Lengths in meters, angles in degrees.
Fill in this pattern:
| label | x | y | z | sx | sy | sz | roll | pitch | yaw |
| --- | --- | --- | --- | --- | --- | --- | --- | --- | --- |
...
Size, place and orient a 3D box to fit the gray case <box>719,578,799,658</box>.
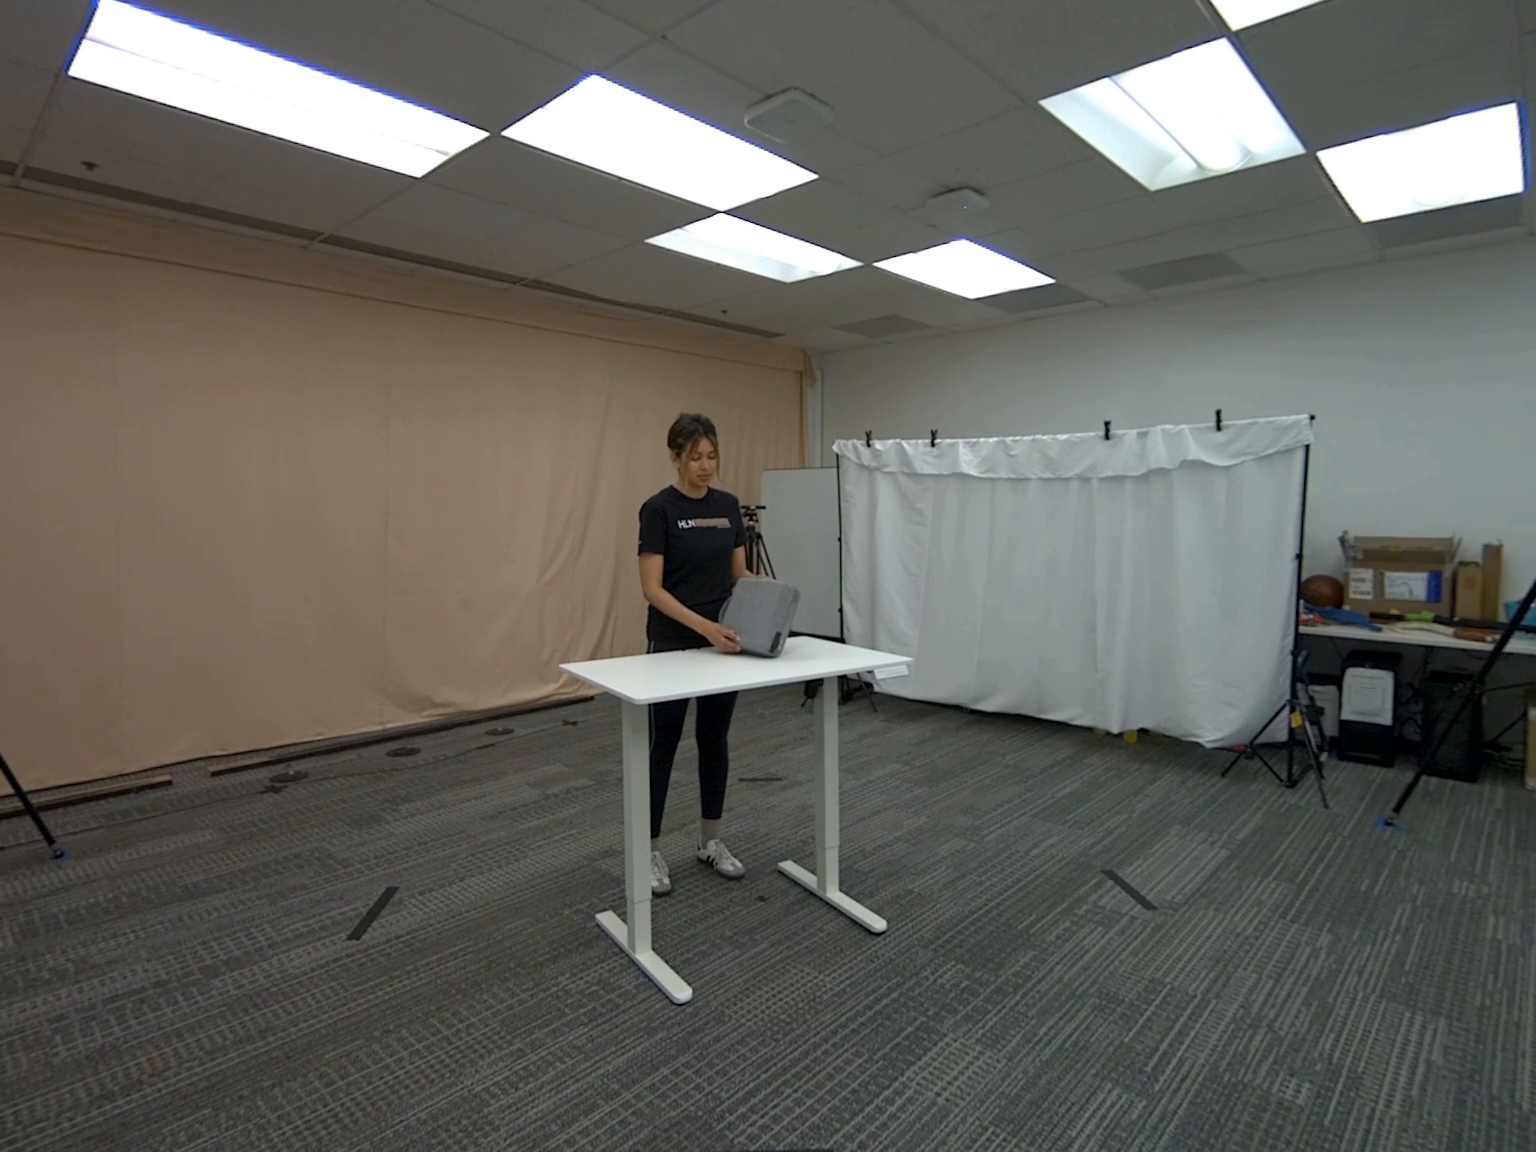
| label | x | y | z | sx | sy | sz | roll | pitch | yaw |
| --- | --- | --- | --- | --- | --- | --- | --- | --- | --- |
| gray case | -0.025 | 0.136 | 2.896 | 0.101 | 0.258 | 0.269 | 27 | -16 | -37 |
